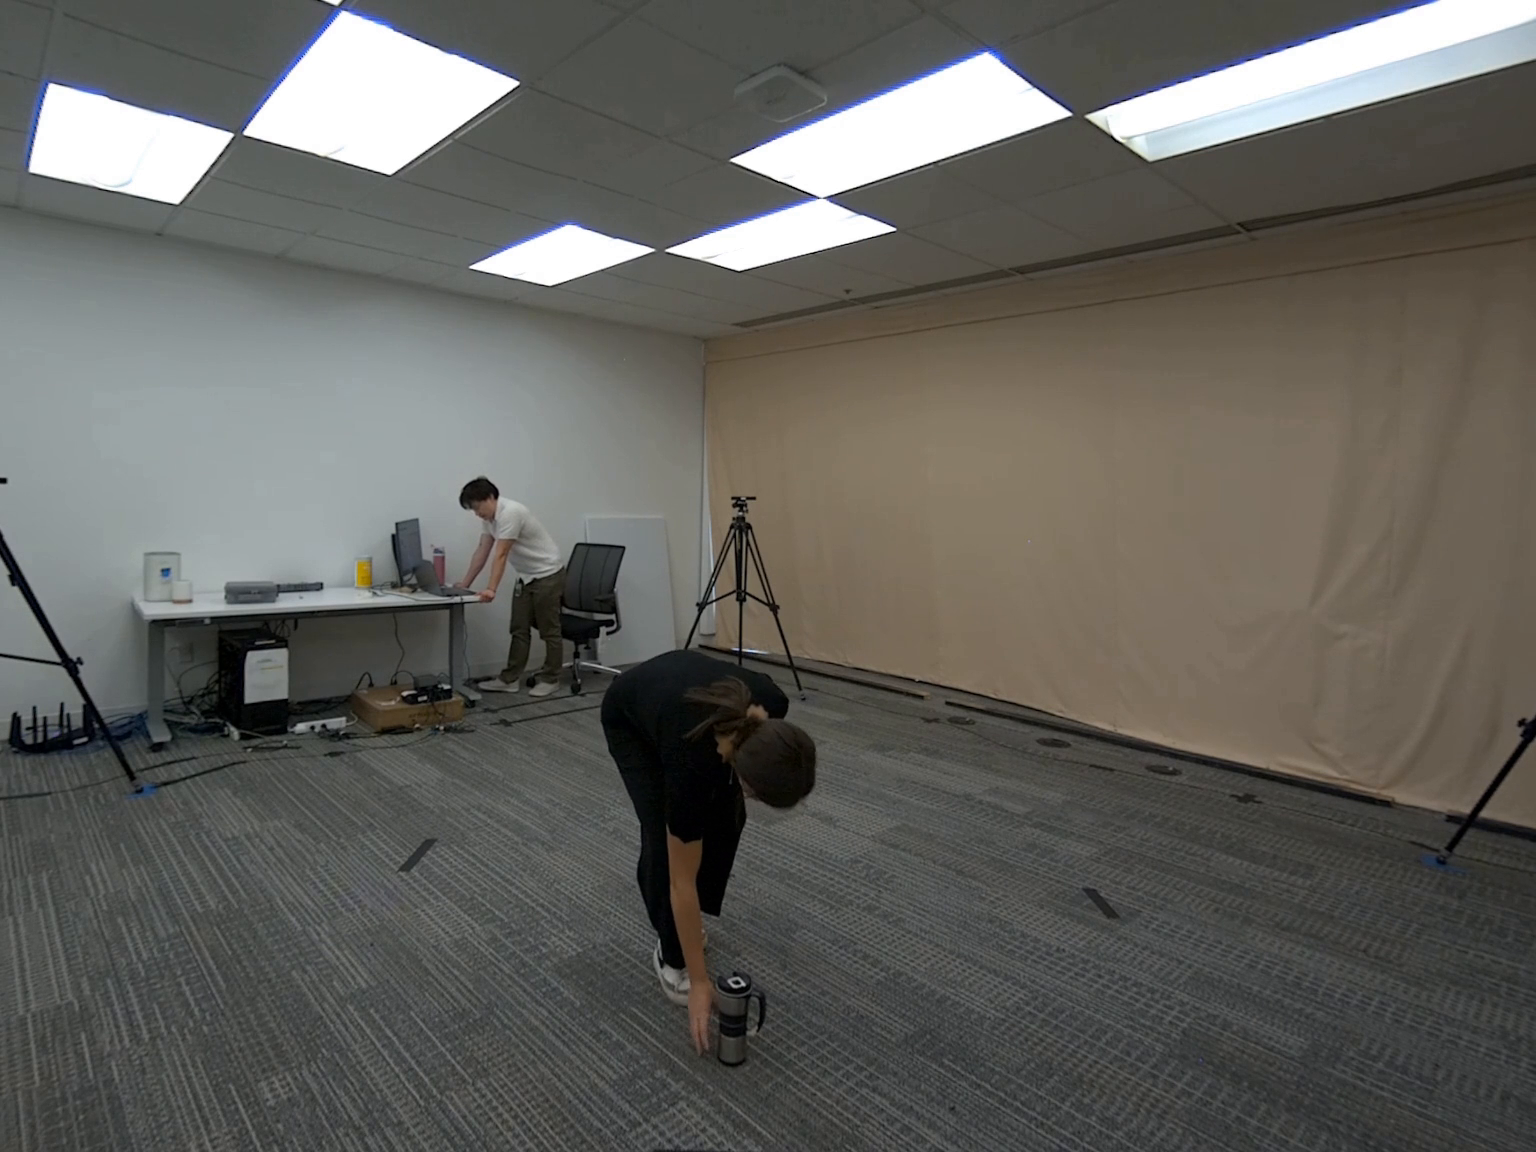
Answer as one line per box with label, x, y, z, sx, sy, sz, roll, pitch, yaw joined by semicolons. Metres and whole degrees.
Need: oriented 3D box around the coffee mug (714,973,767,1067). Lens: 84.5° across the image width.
coffee mug;-0.075;1.107;2.065;0.125;0.203;0.086;3;0;40
